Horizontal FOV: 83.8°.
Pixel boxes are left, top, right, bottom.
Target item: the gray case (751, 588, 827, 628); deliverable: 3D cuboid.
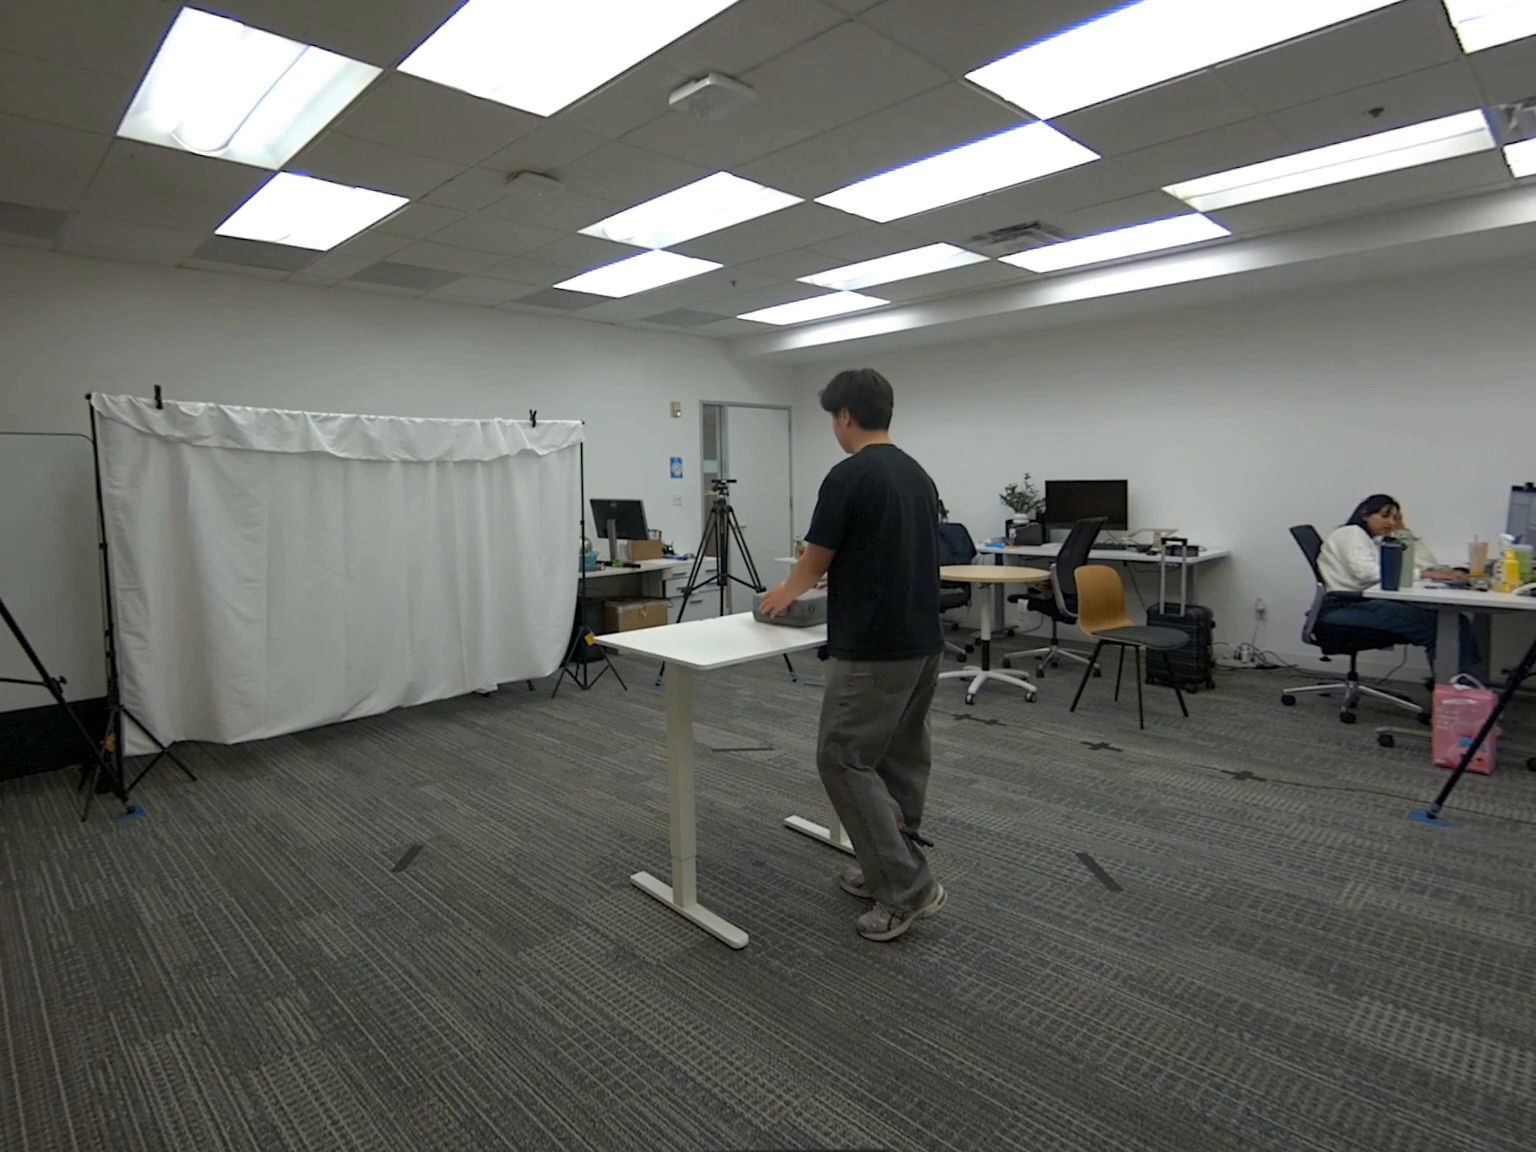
[{"bbox_3d":[0.104,0.113,3.087,0.271,0.102,0.280,5,9,43],"label":"gray case"}]
